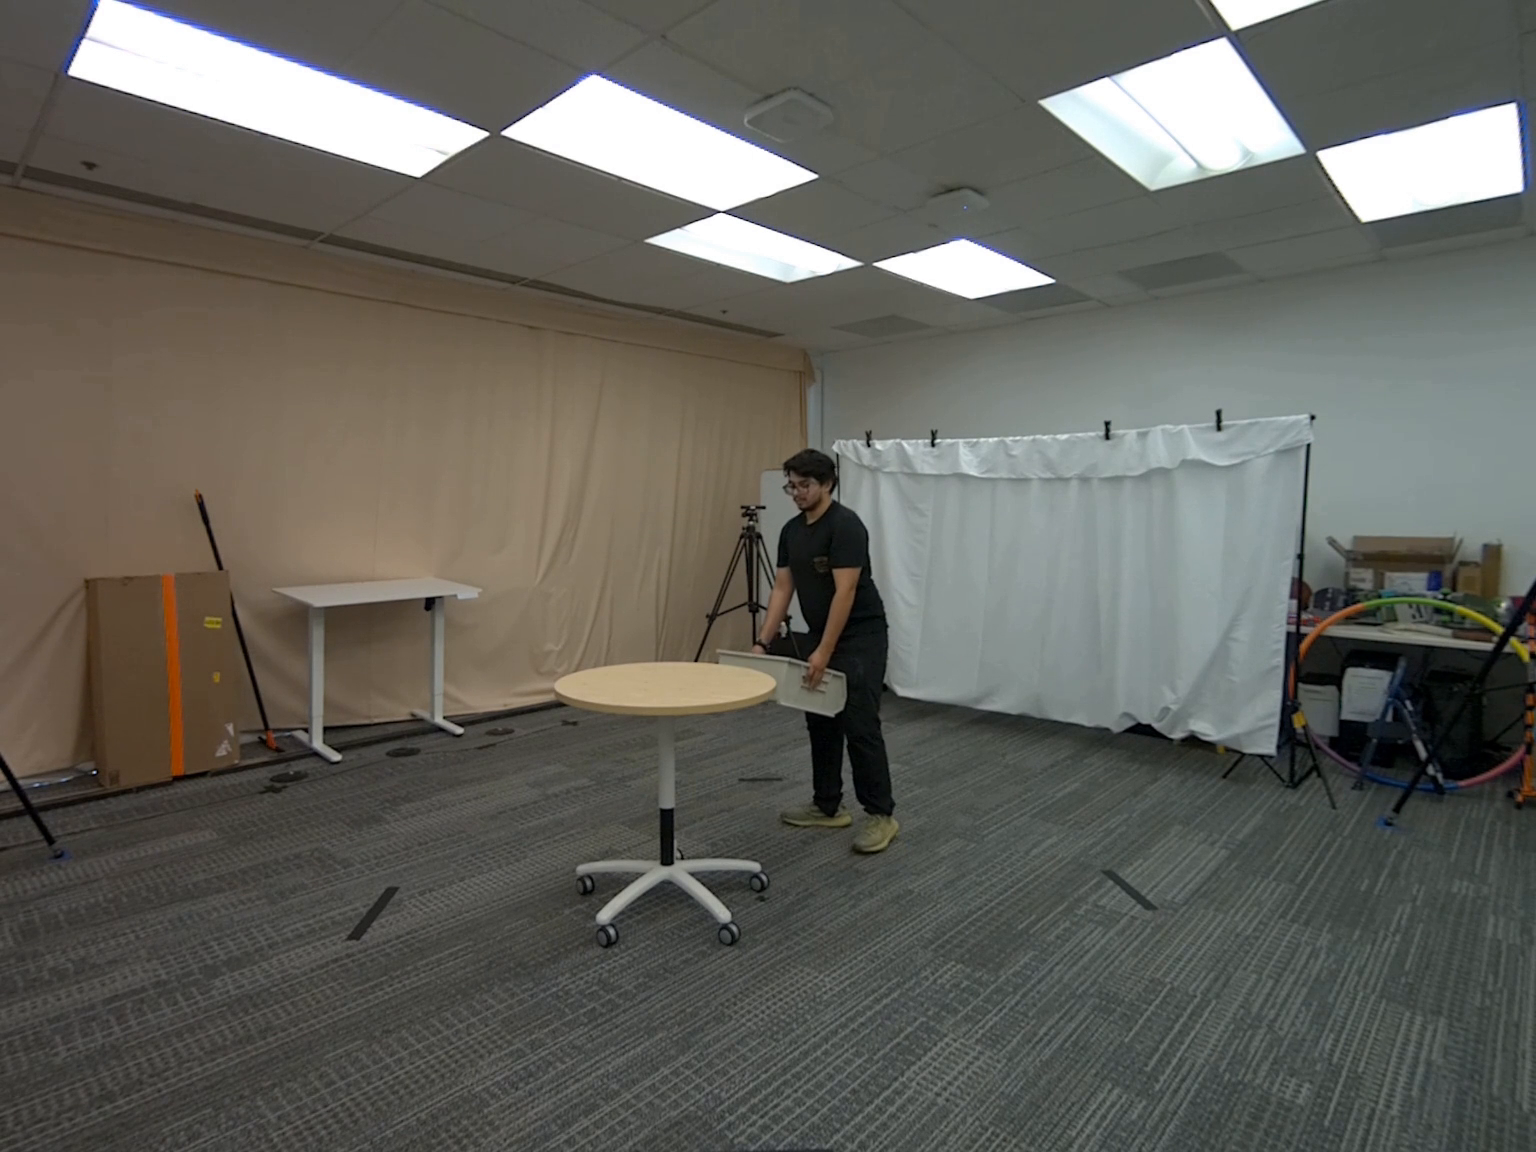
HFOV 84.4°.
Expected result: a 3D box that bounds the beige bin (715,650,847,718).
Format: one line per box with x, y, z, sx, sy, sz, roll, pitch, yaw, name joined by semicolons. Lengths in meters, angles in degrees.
0.044;0.446;3.457;0.364;0.189;0.436;20;-12;-40;beige bin
